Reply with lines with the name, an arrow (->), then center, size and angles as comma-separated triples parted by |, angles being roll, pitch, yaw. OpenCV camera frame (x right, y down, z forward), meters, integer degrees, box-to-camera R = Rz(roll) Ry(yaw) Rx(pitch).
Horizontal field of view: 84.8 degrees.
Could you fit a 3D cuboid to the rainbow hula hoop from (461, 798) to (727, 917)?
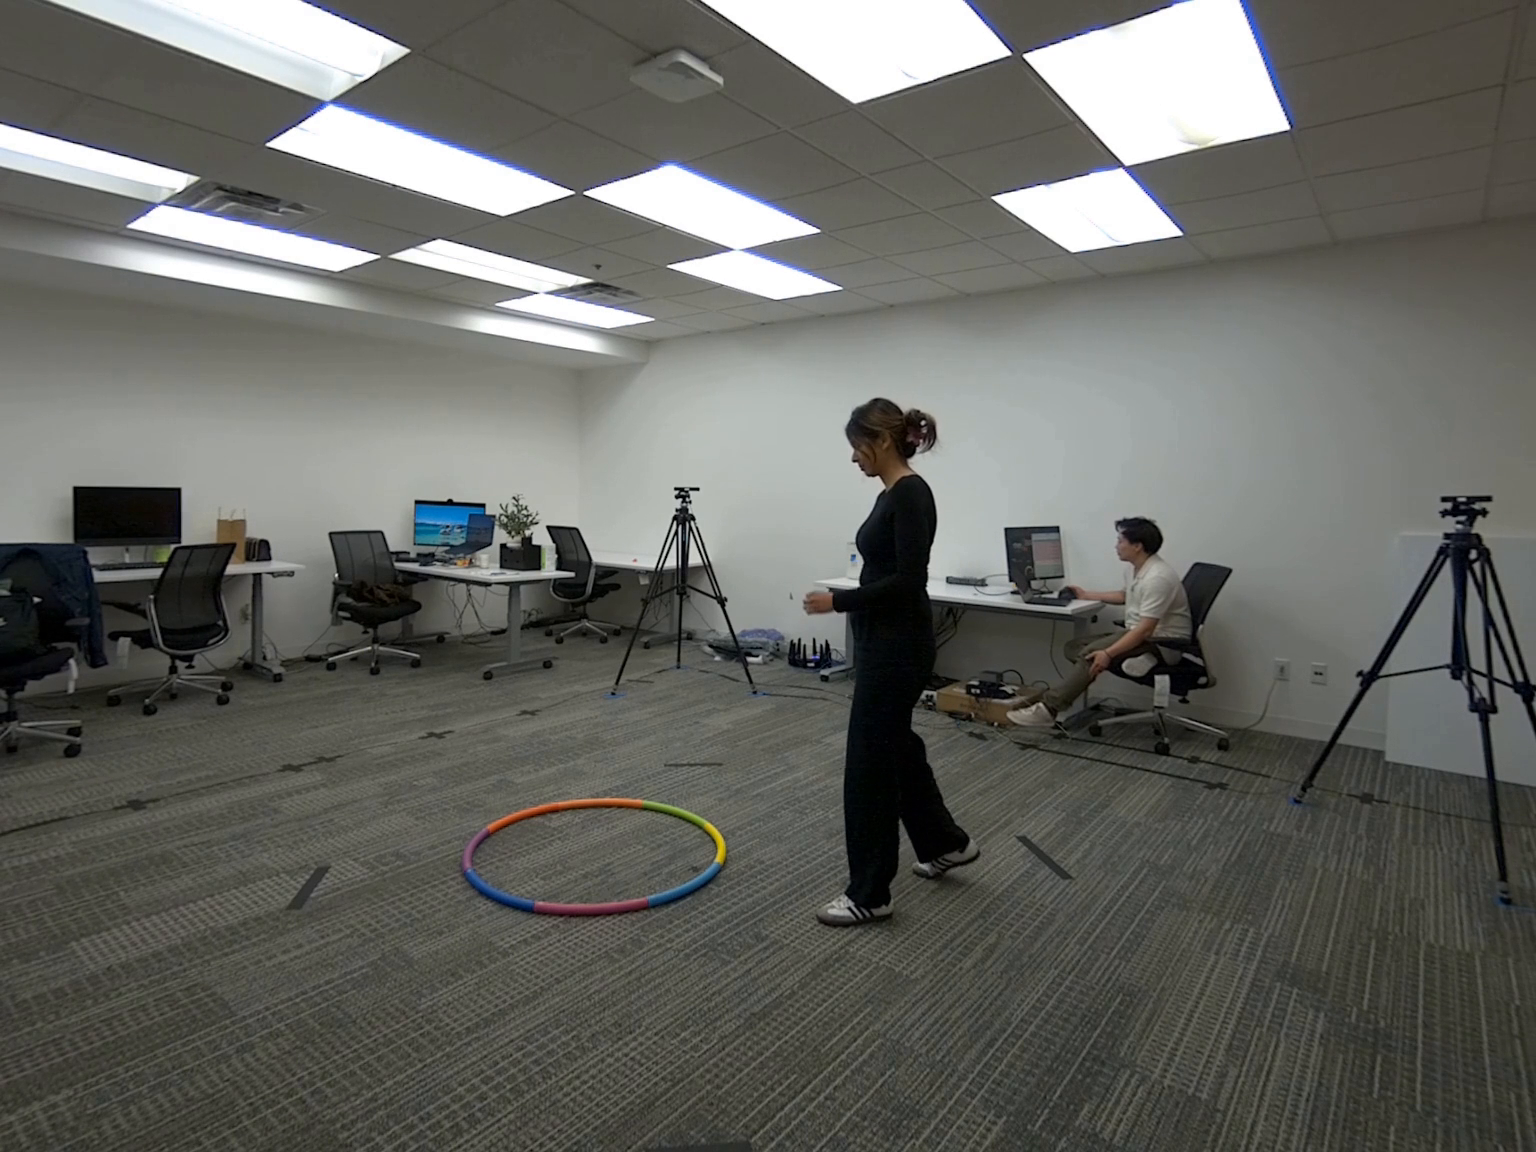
rainbow hula hoop -> -0.655, 1.017, 3.222 | 0.978, 0.035, 0.984 | 1, 6, -2
